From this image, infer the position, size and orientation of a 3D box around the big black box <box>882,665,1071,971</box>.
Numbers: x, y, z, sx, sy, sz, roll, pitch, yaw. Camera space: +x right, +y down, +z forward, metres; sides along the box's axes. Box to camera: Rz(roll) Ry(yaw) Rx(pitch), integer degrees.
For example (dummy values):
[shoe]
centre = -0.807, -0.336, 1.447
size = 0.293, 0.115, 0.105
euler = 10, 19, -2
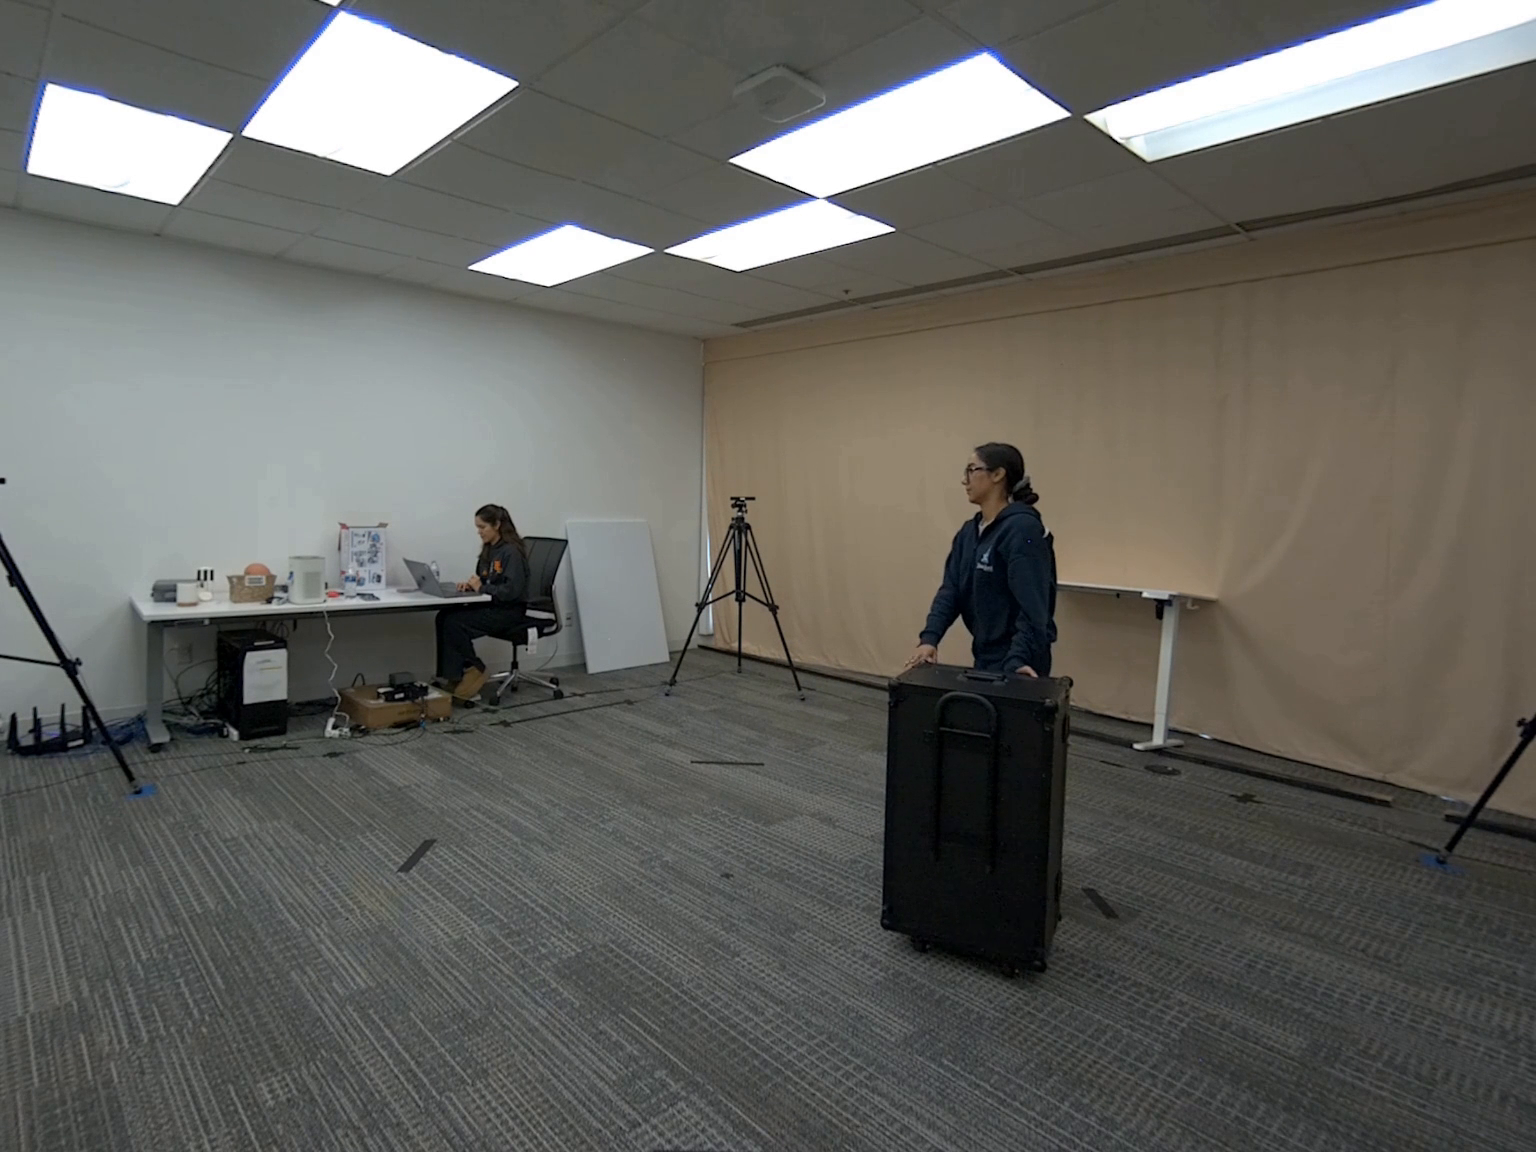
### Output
[big black box]
centre = 0.643, 0.747, 2.617
size = 0.532, 0.858, 0.389
euler = 3, 5, 29
